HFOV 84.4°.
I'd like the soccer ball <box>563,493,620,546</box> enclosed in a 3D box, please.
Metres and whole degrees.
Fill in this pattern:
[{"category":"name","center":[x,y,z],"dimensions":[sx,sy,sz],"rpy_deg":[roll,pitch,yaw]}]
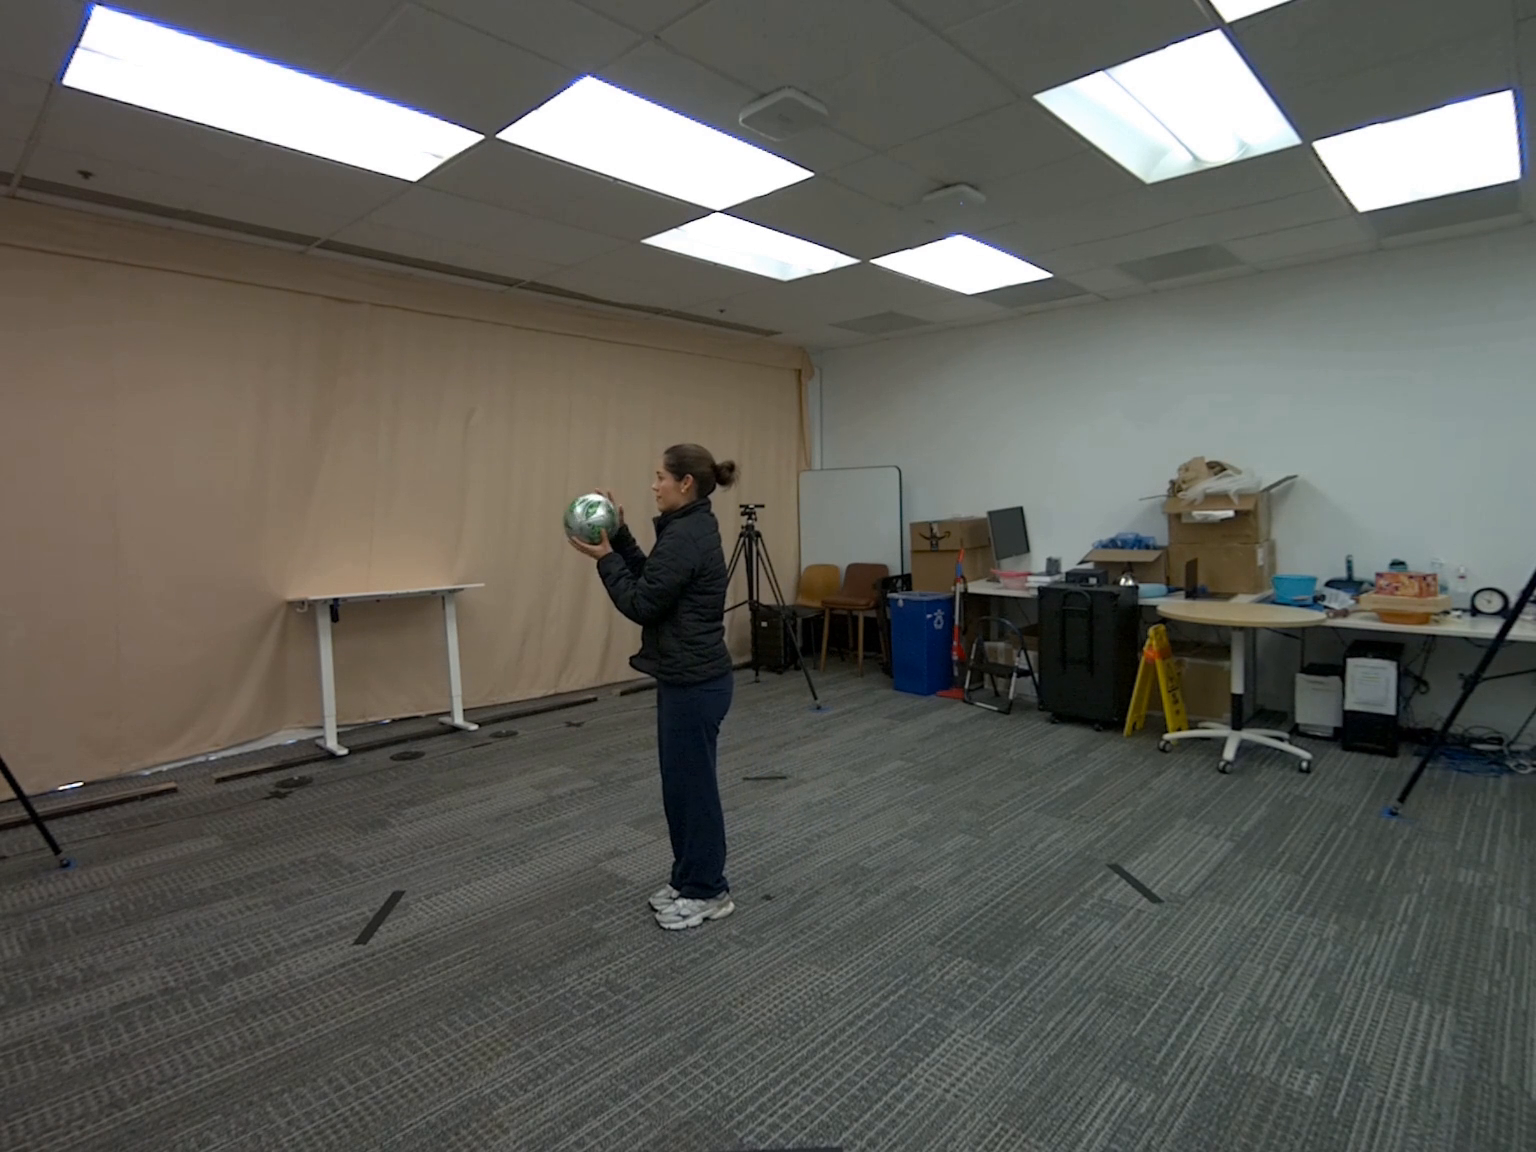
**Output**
[{"category":"soccer ball","center":[-0.593,-0.181,2.849],"dimensions":[0.187,0.187,0.188],"rpy_deg":[-1,4,-2]}]
